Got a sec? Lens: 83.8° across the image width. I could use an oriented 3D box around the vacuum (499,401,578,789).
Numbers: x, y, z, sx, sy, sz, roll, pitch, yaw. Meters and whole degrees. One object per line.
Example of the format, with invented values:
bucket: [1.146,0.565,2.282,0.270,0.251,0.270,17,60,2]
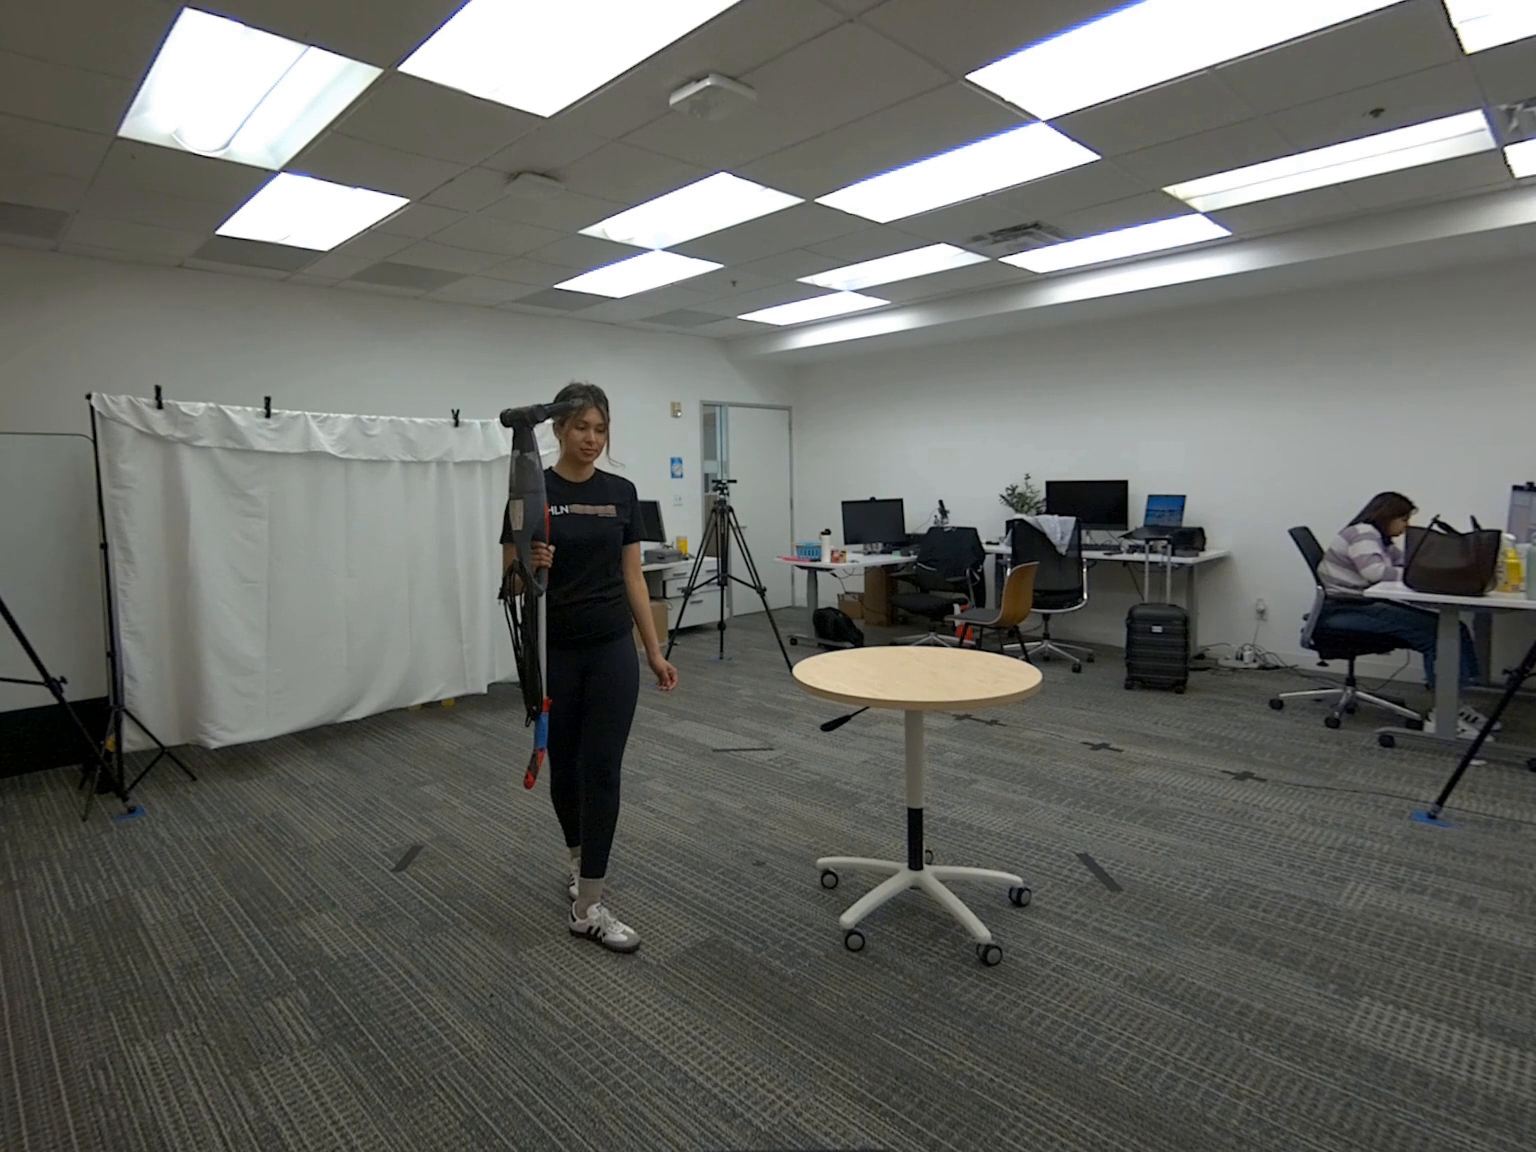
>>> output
vacuum: [-0.665,0.053,2.360,0.259,1.053,0.140,0,-5,31]
